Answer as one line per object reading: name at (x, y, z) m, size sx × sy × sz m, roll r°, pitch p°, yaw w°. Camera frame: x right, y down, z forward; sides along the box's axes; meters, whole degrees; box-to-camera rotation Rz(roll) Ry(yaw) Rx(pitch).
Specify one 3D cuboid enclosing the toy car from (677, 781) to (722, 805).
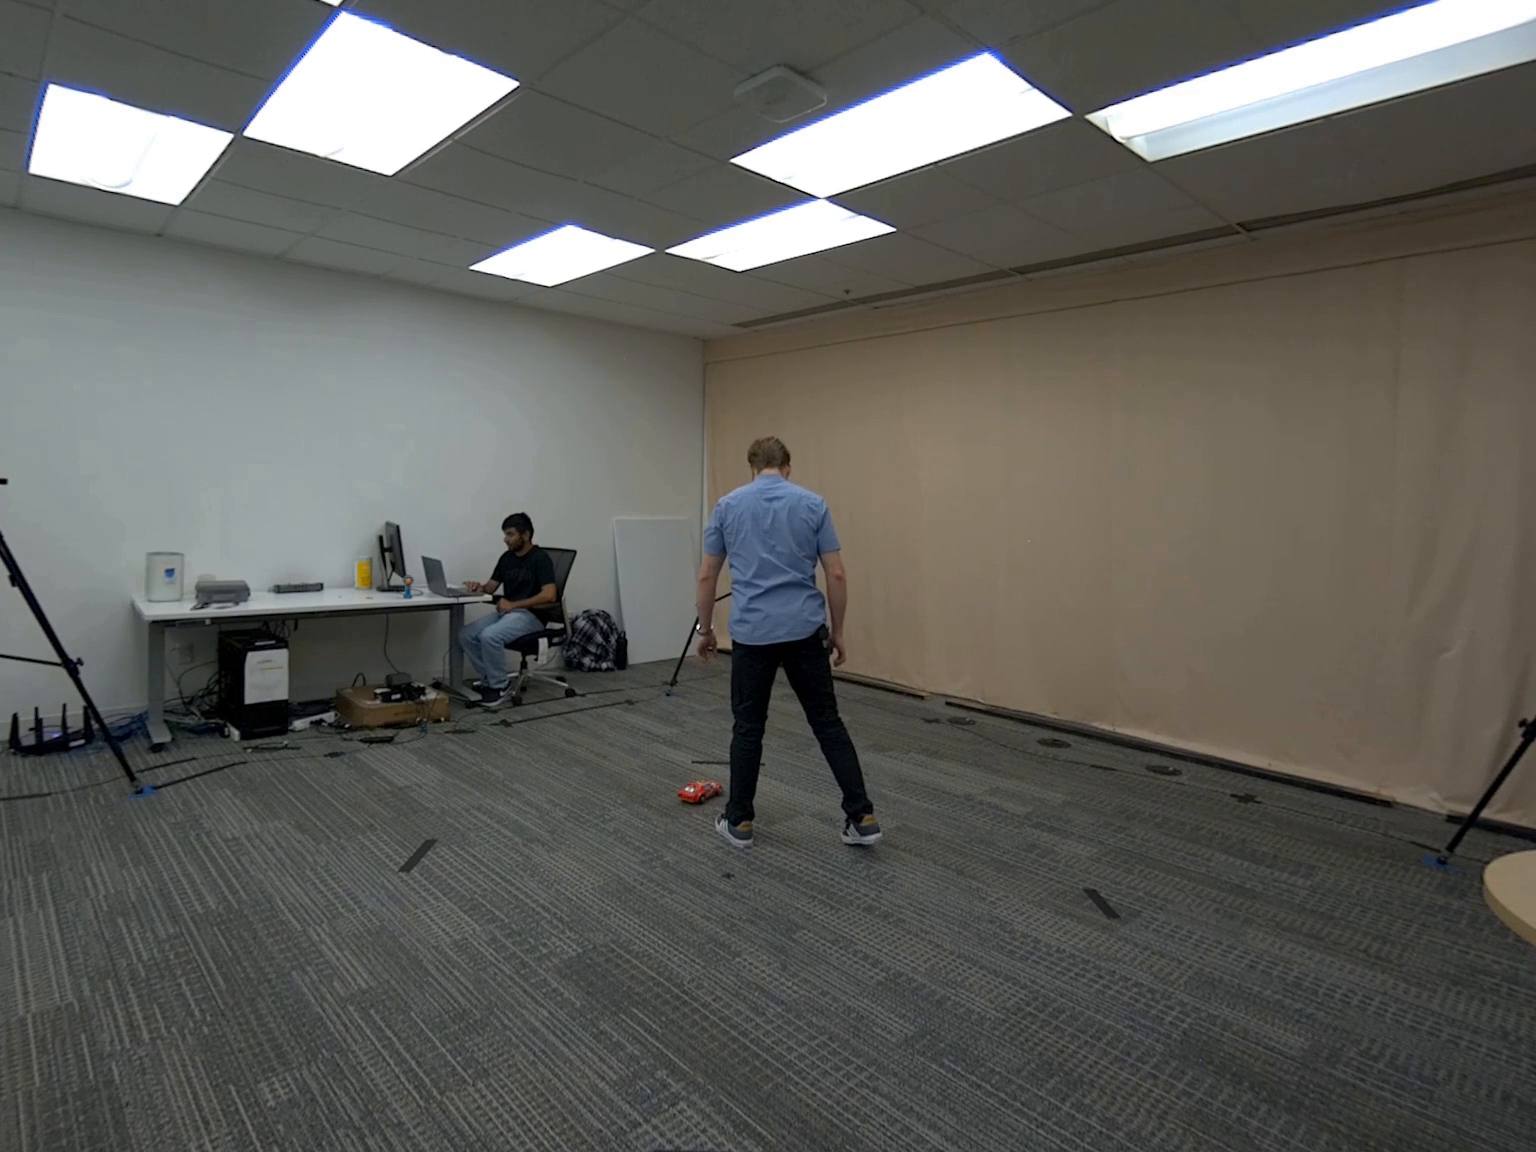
toy car at (-0.333, 1.002, 3.903) m, size 0.133 × 0.083 × 0.248 m, roll 4°, pitch -7°, yaw 31°
